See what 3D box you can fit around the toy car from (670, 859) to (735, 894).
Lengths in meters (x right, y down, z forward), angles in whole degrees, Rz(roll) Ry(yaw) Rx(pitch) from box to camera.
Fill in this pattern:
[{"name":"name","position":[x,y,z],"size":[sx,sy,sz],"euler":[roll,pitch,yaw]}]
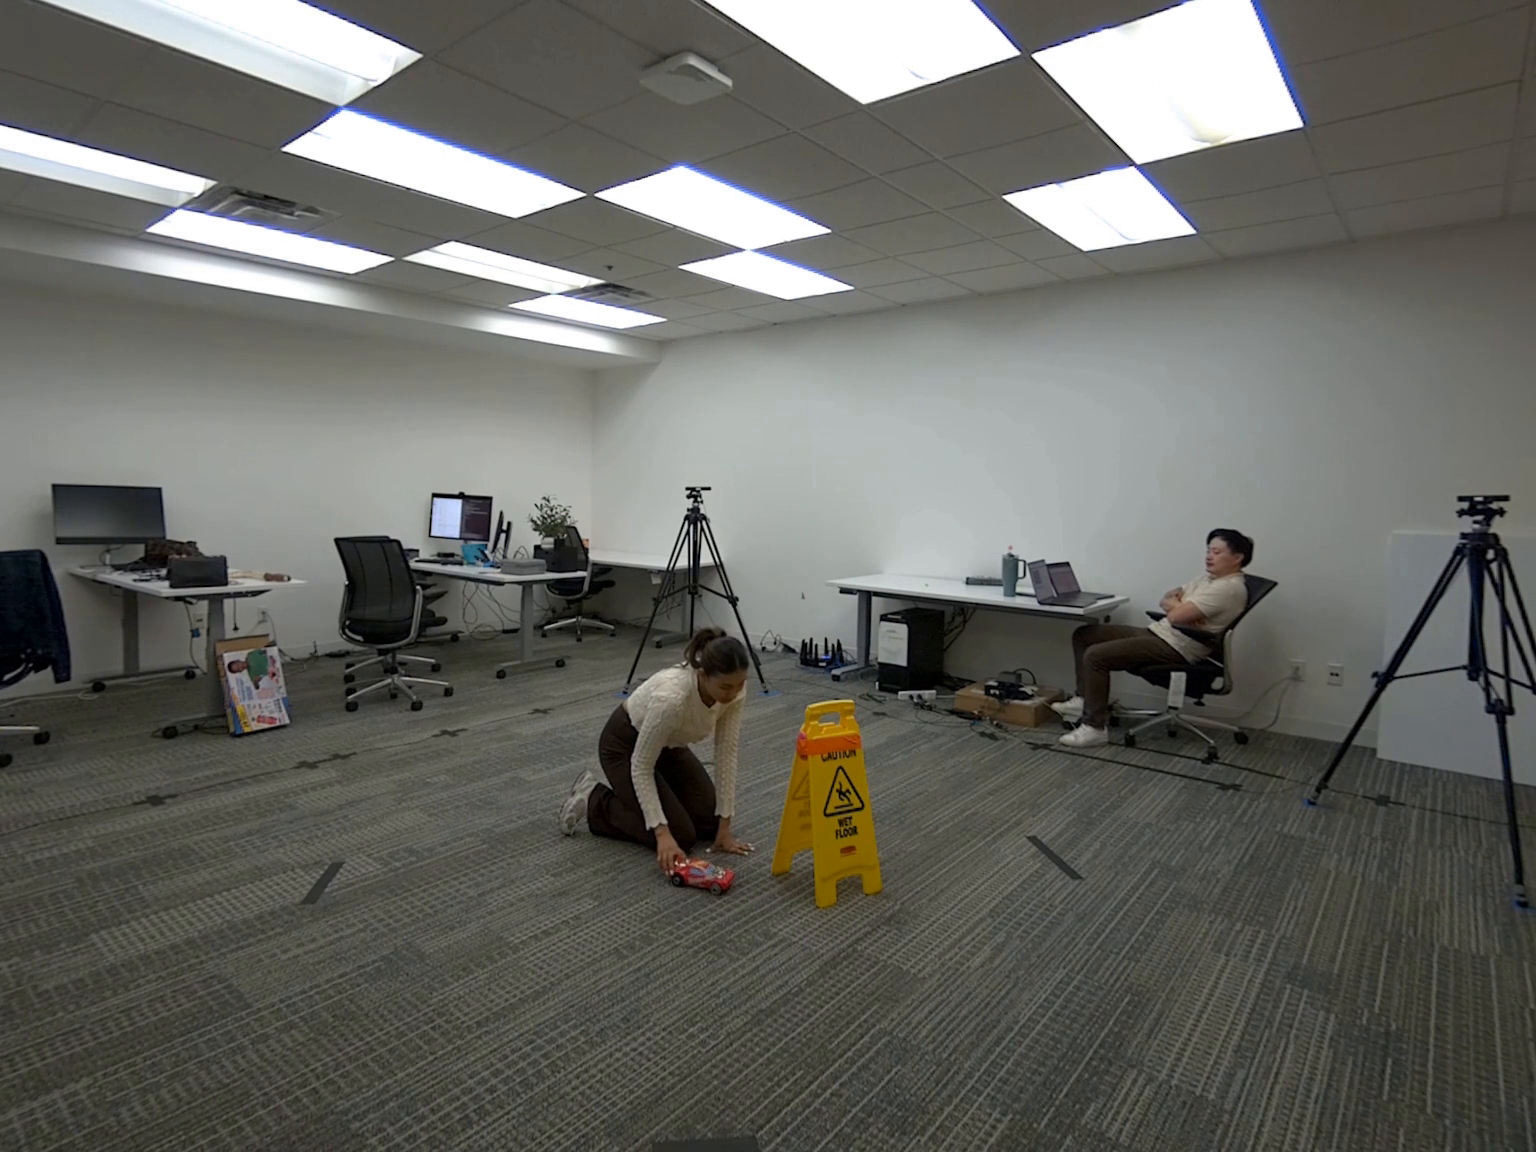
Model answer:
[{"name":"toy car","position":[-0.260,1.040,2.990],"size":[0.260,0.082,0.128],"euler":[15,12,18]}]
